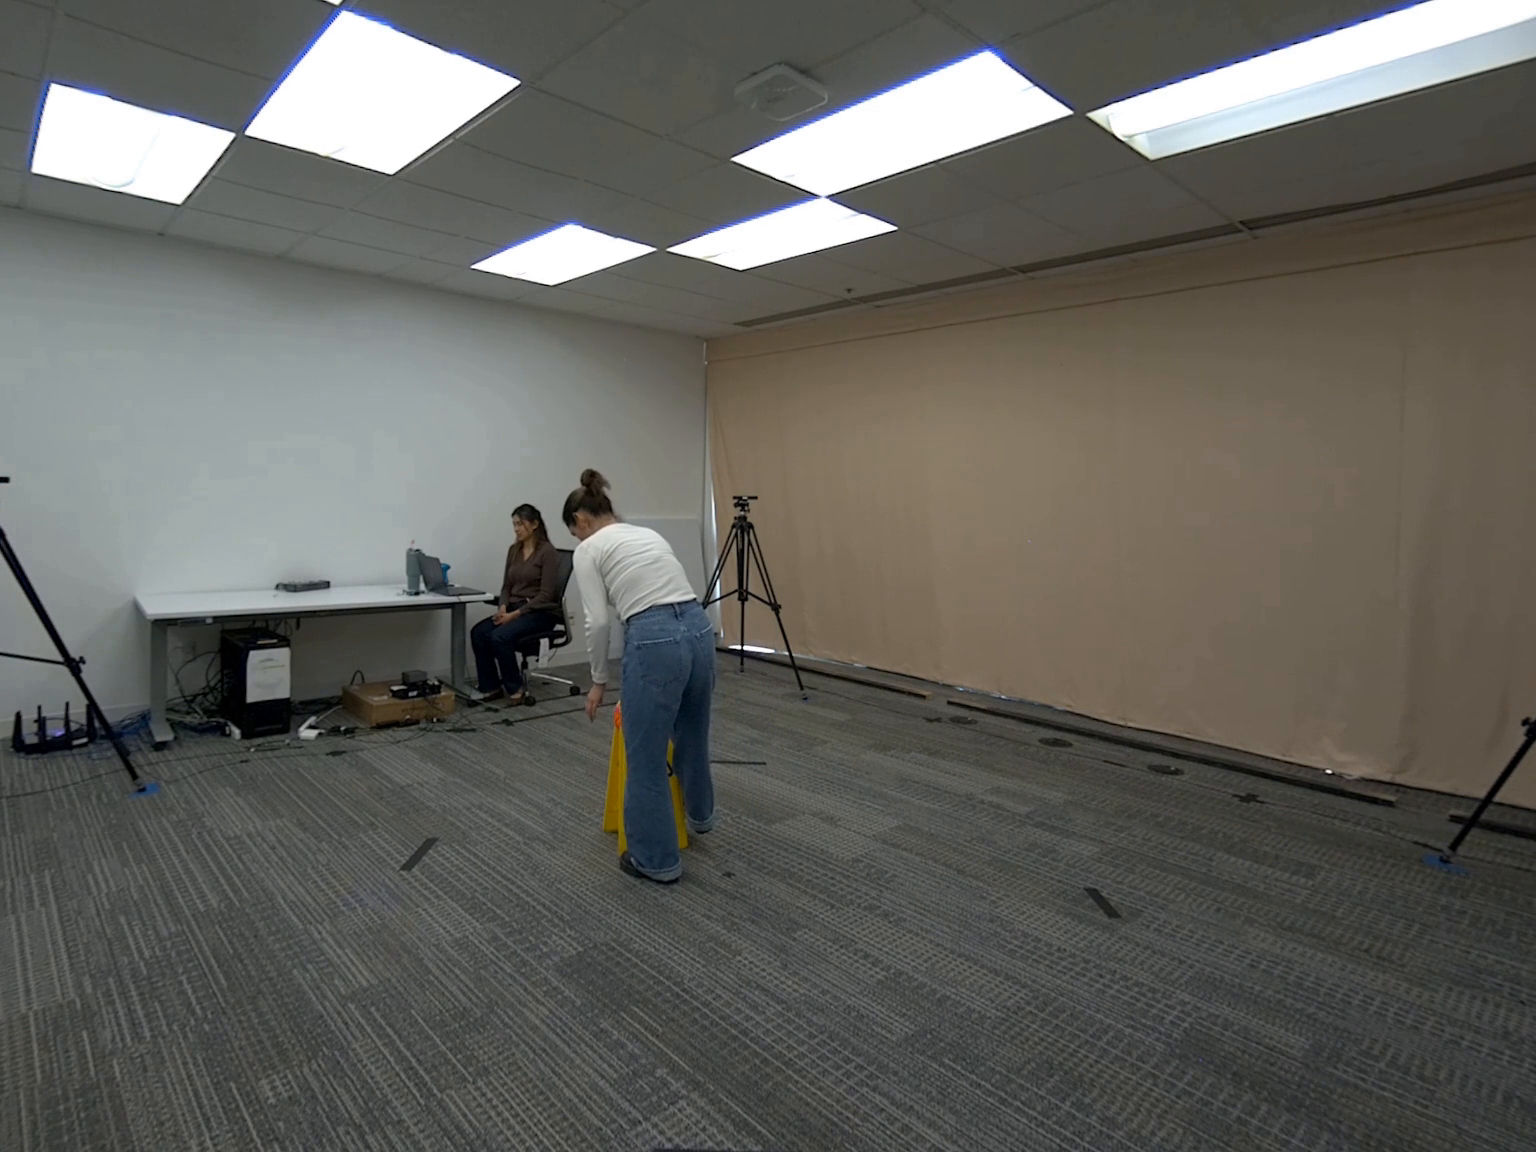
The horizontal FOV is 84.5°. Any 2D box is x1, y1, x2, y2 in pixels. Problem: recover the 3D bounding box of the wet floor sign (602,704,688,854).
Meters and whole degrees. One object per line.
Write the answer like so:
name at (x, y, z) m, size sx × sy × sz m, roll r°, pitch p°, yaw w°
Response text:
wet floor sign at (-0.498, 0.745, 3.384) m, size 0.277 × 0.645 × 0.295 m, roll -1°, pitch 3°, yaw -25°
